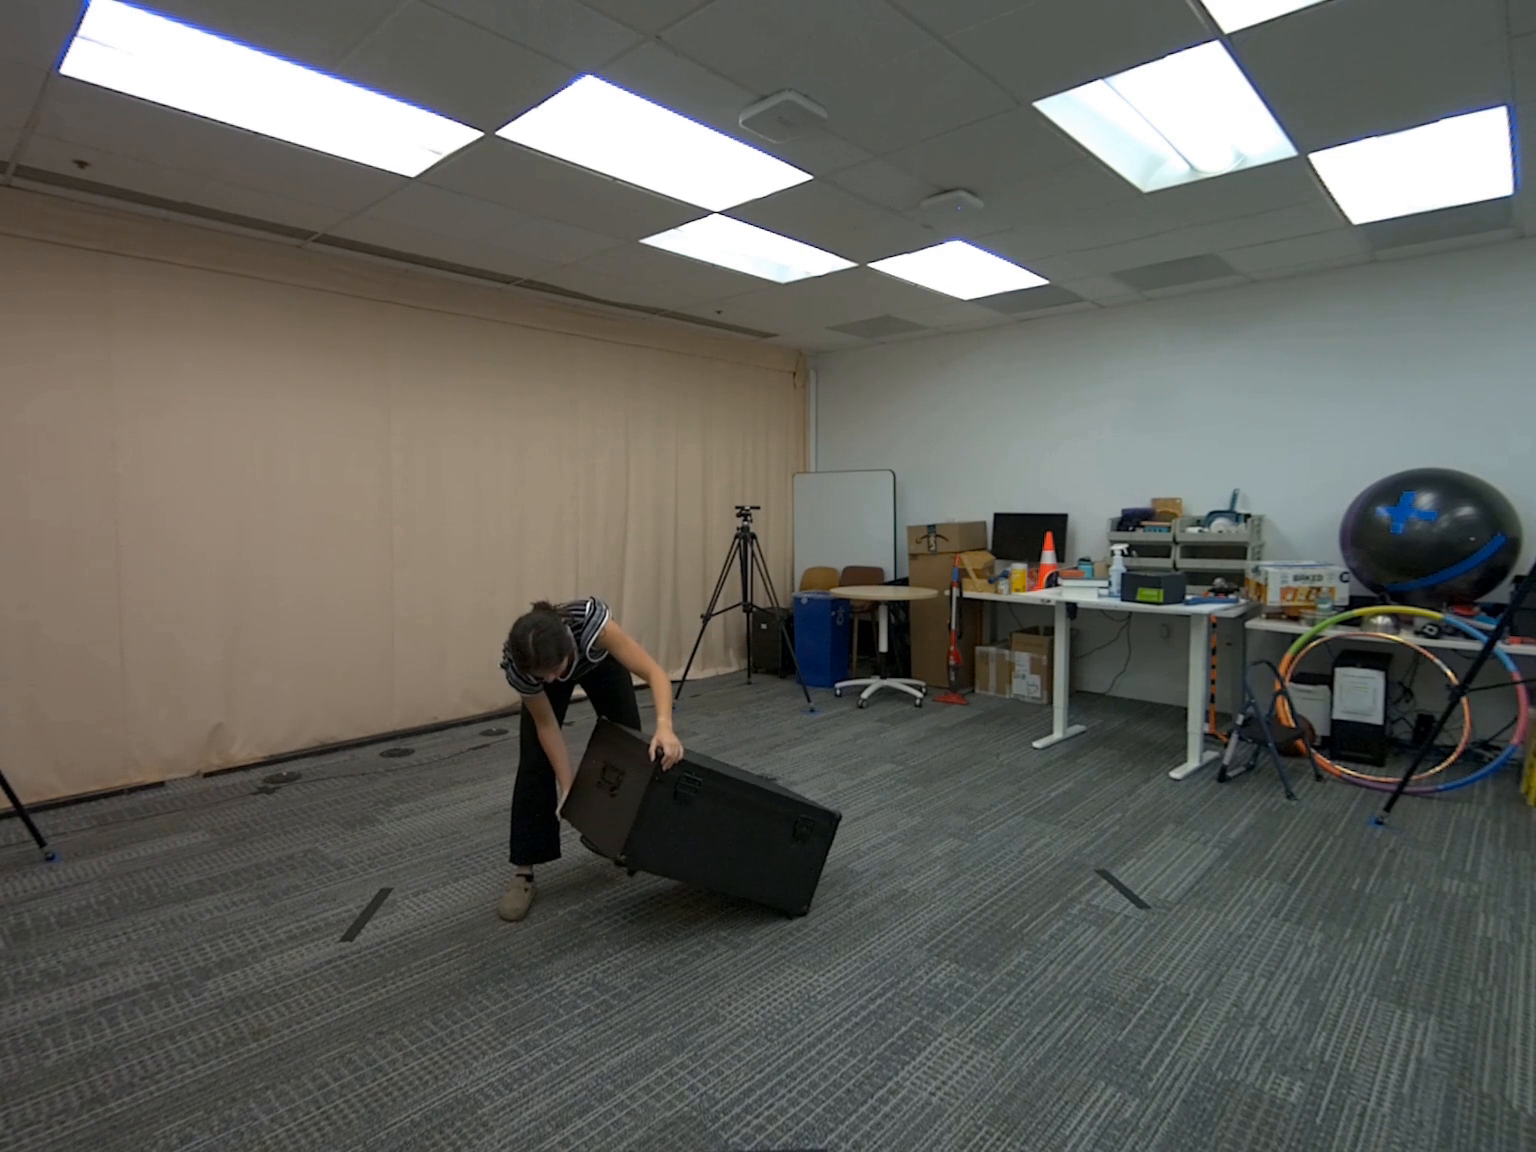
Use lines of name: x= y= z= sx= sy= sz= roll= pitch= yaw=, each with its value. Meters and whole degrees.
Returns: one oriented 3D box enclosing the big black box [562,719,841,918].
big black box: x=-0.199 y=0.847 z=2.906 sx=0.834 sy=0.397 sz=0.537 roll=27 pitch=-12 yaw=-31
